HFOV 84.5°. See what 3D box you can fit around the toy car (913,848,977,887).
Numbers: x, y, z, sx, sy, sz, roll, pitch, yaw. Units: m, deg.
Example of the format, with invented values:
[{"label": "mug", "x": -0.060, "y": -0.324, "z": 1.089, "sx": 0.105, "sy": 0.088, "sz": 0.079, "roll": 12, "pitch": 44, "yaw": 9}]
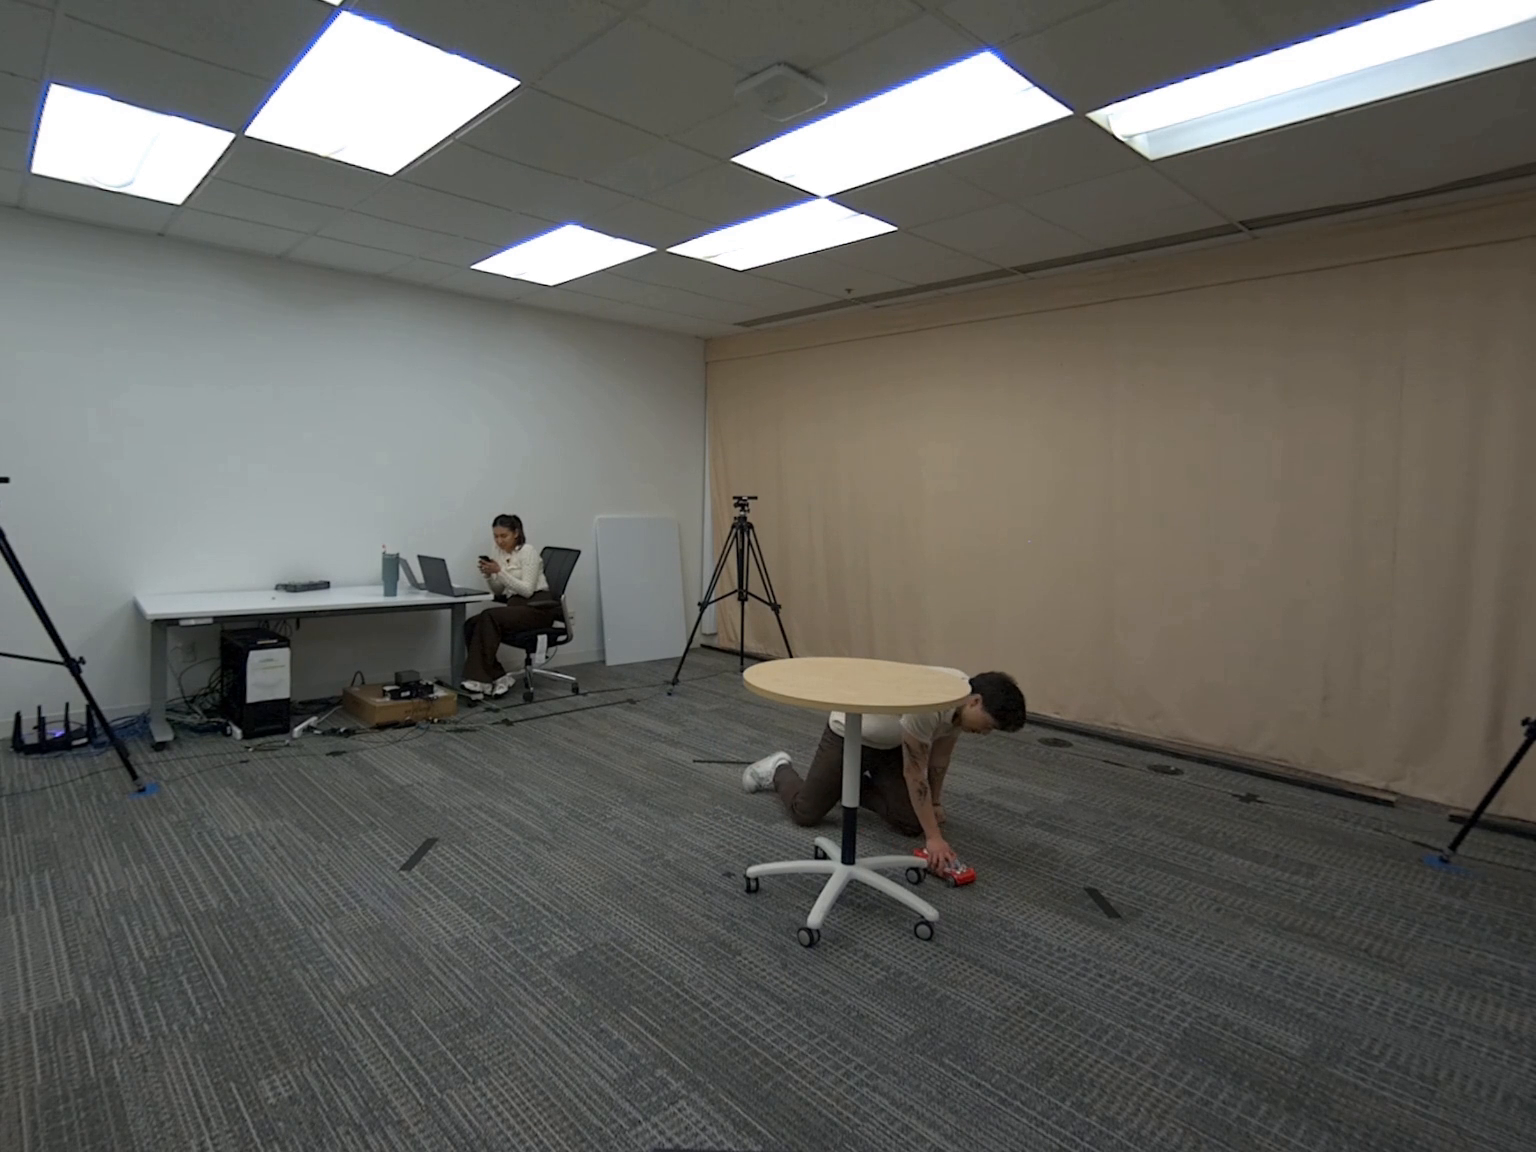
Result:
[{"label": "toy car", "x": 0.642, "y": 1.089, "z": 3.163, "sx": 0.128, "sy": 0.082, "sz": 0.262, "roll": -2, "pitch": 15, "yaw": -31}]
